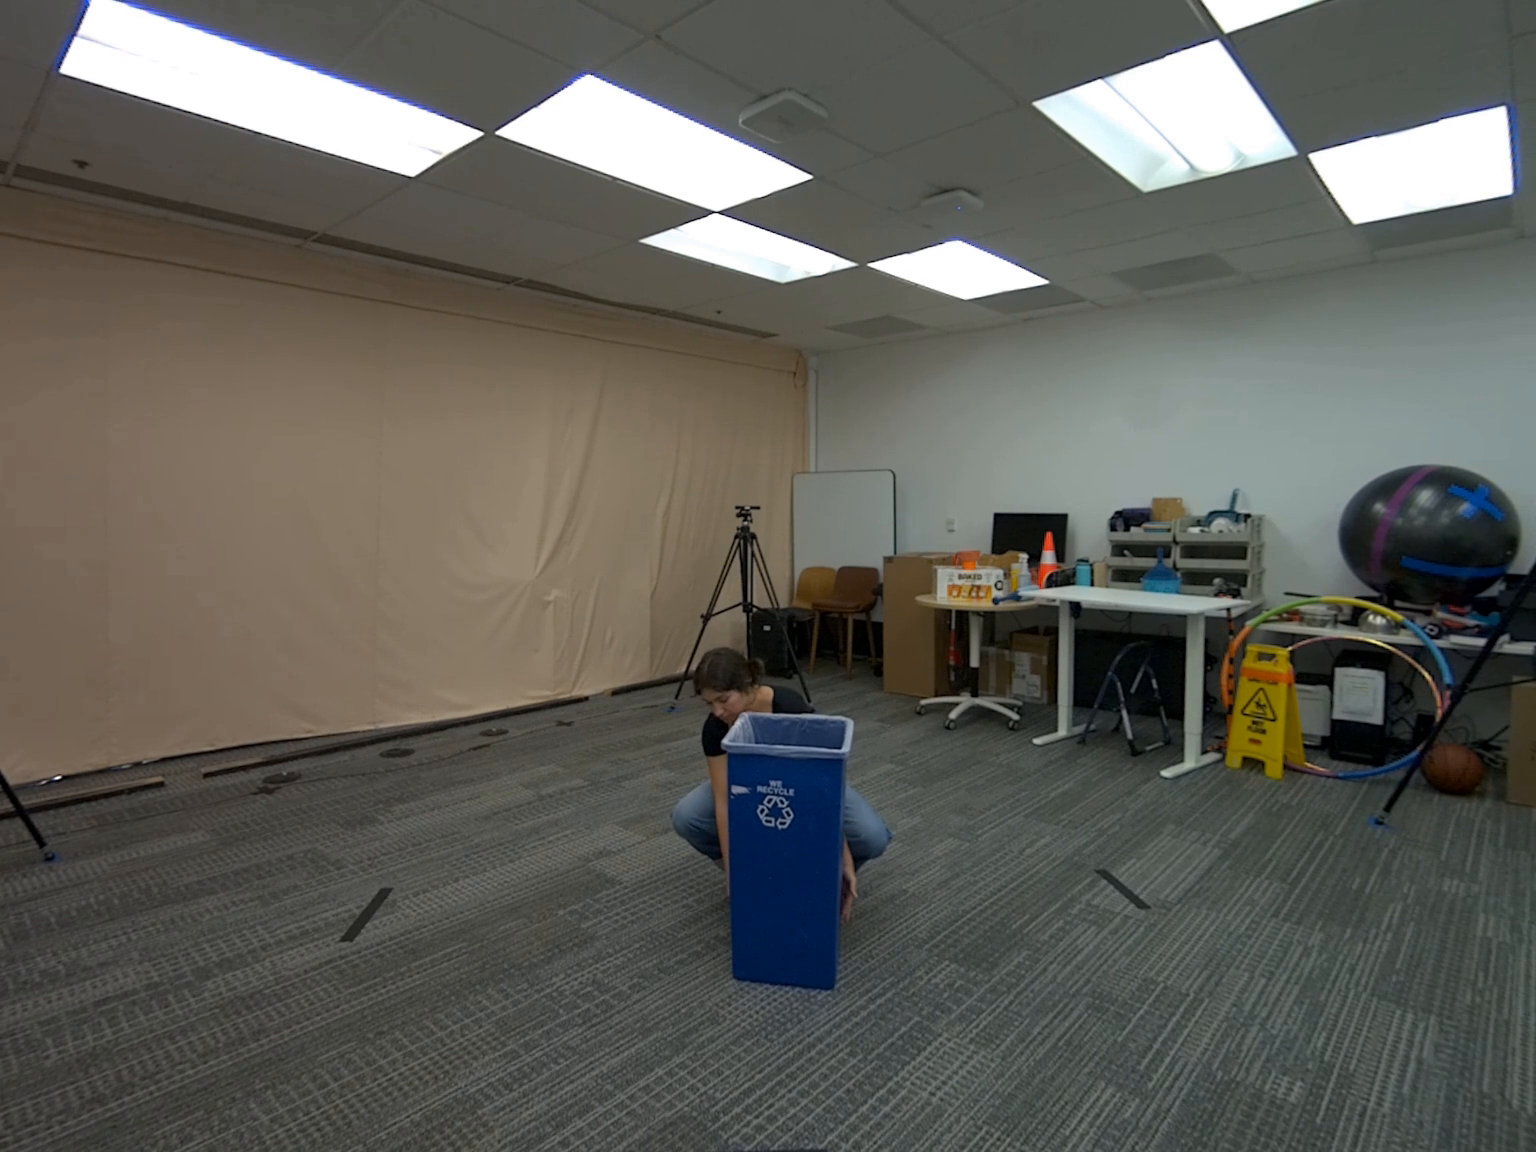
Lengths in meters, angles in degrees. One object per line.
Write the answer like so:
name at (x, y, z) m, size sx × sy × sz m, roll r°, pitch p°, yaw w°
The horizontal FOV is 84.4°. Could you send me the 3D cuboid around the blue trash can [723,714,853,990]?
blue trash can at (0.076, 0.817, 2.571) m, size 0.379 × 0.712 × 0.374 m, roll 0°, pitch 3°, yaw 11°
